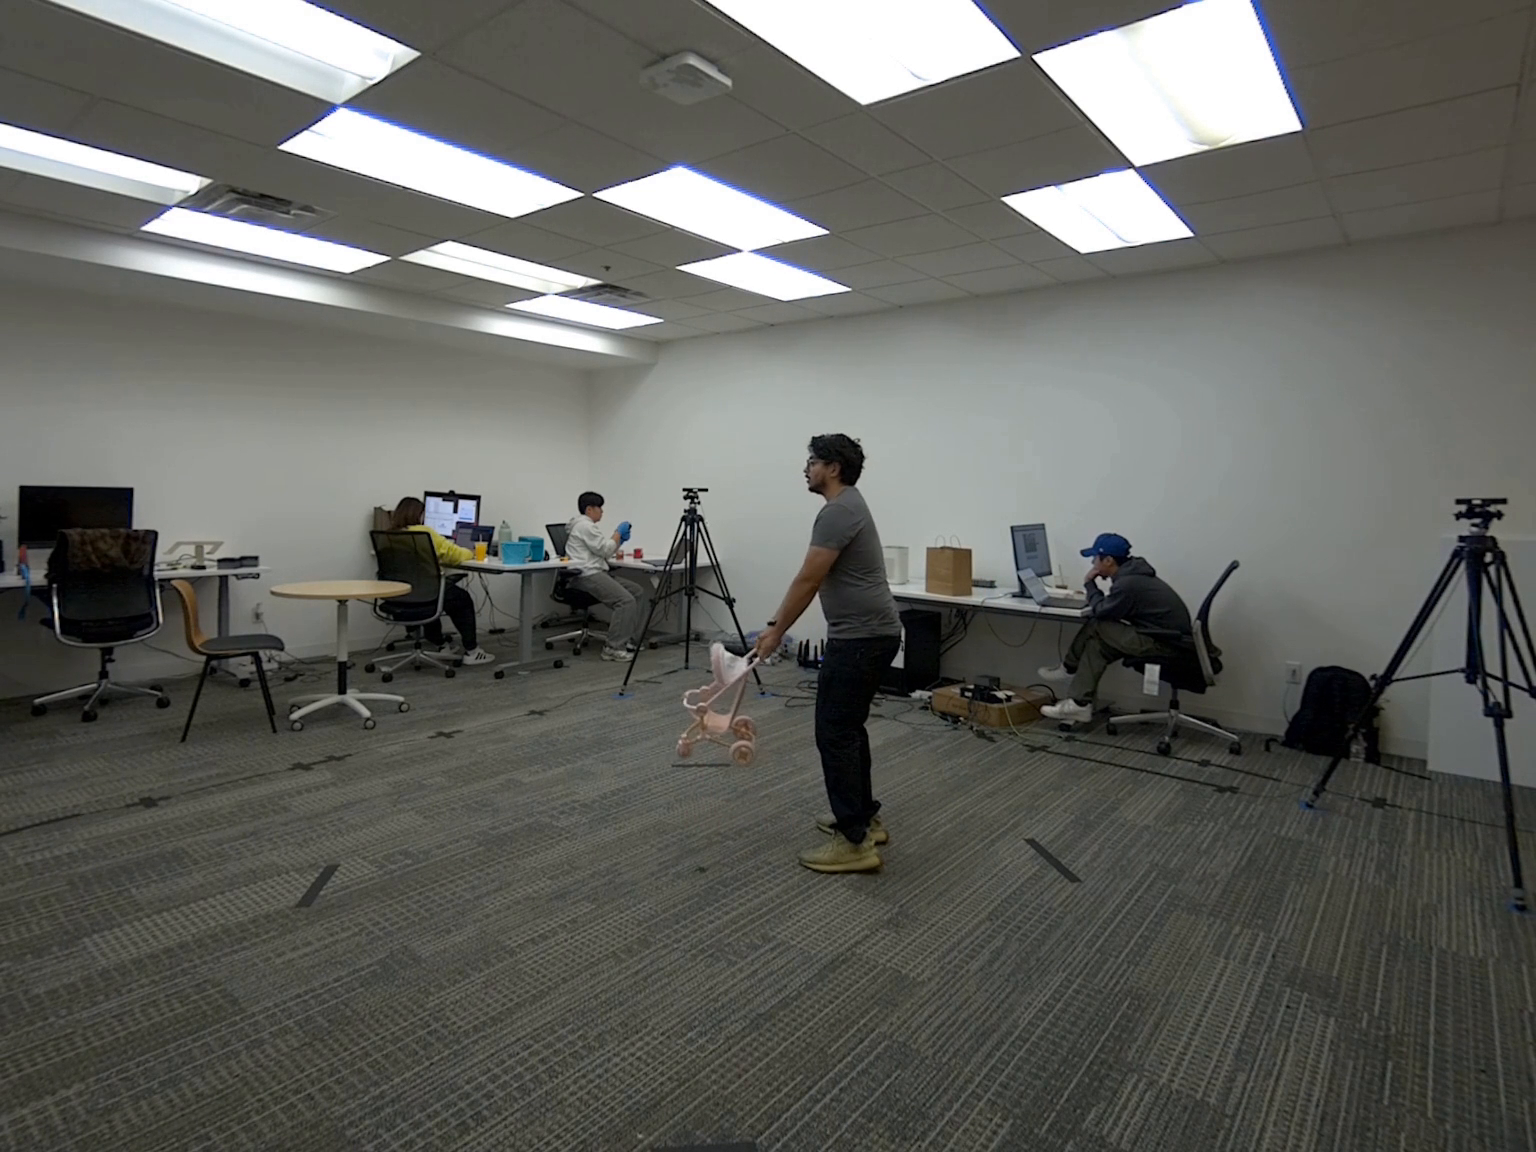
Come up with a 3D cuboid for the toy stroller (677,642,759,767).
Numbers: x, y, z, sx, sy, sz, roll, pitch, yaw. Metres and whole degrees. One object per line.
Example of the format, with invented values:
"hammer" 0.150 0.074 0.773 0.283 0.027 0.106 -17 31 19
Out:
"toy stroller" -0.204 0.513 3.474 0.344 0.530 0.282 9 12 5
